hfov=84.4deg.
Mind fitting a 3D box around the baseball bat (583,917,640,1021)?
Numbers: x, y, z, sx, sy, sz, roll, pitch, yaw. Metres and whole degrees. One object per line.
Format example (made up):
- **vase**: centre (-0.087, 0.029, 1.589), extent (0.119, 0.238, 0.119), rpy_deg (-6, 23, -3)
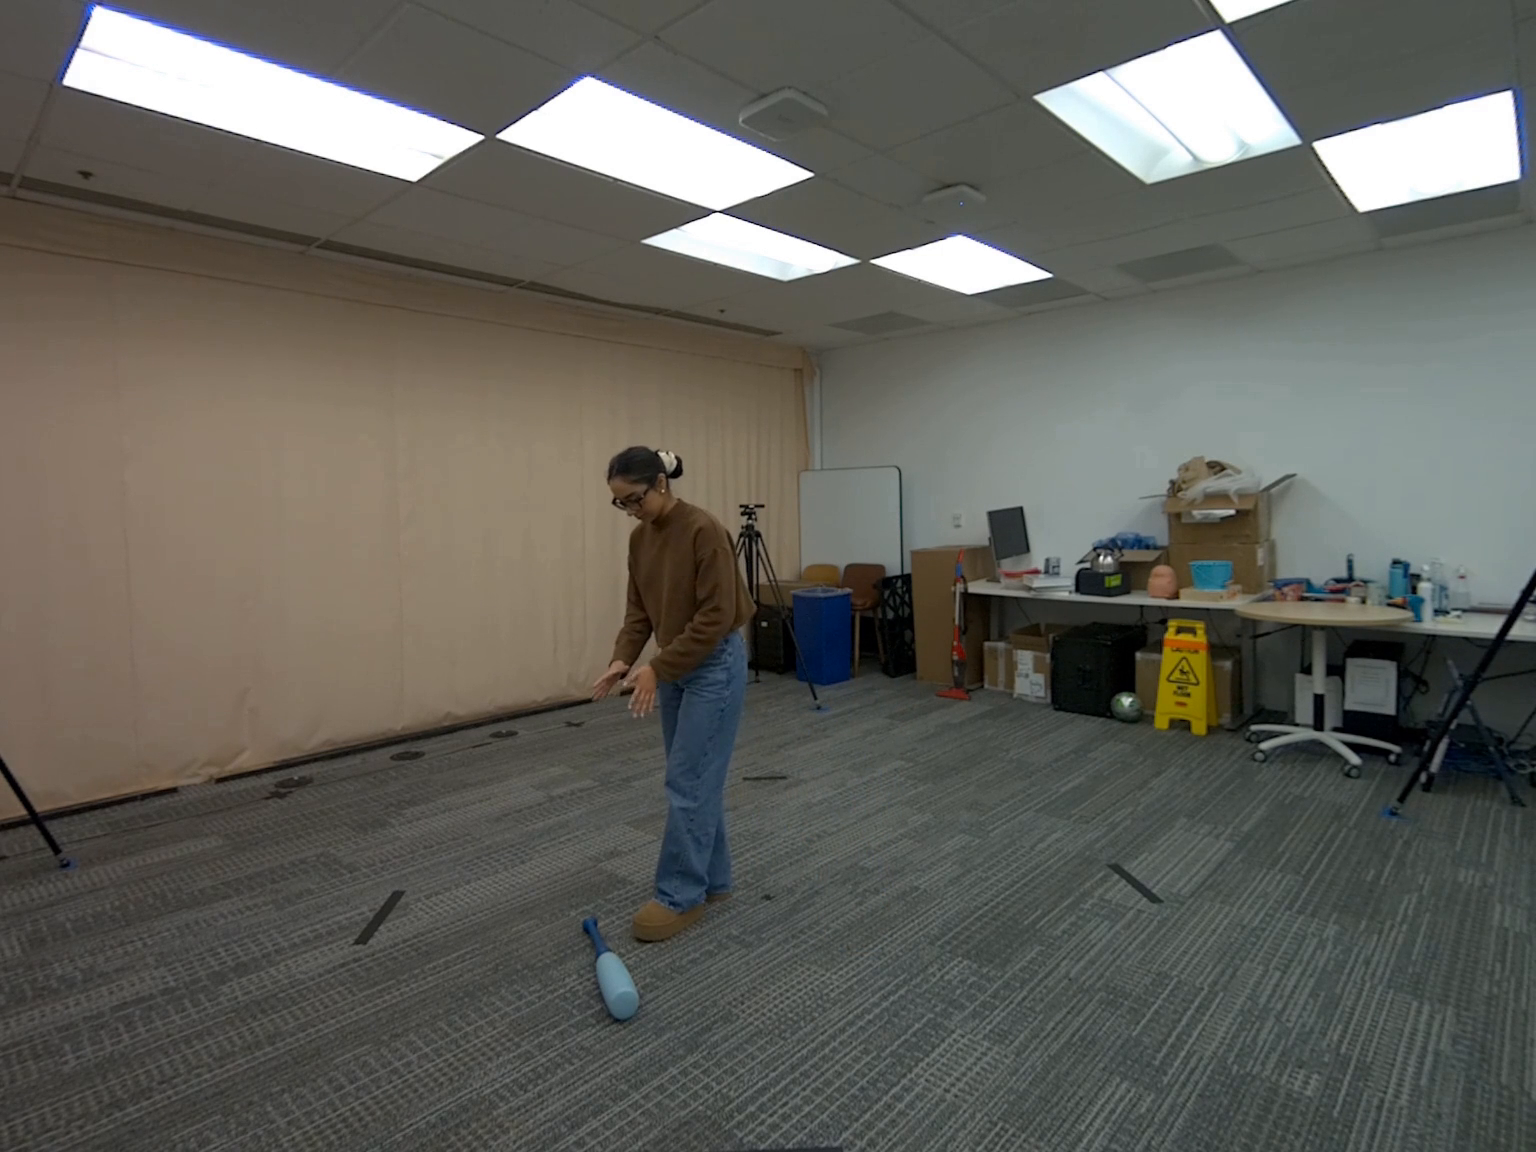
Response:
- **baseball bat**: centre (-0.485, 1.156, 2.518), extent (0.087, 0.089, 0.554), rpy_deg (-2, 2, -20)
